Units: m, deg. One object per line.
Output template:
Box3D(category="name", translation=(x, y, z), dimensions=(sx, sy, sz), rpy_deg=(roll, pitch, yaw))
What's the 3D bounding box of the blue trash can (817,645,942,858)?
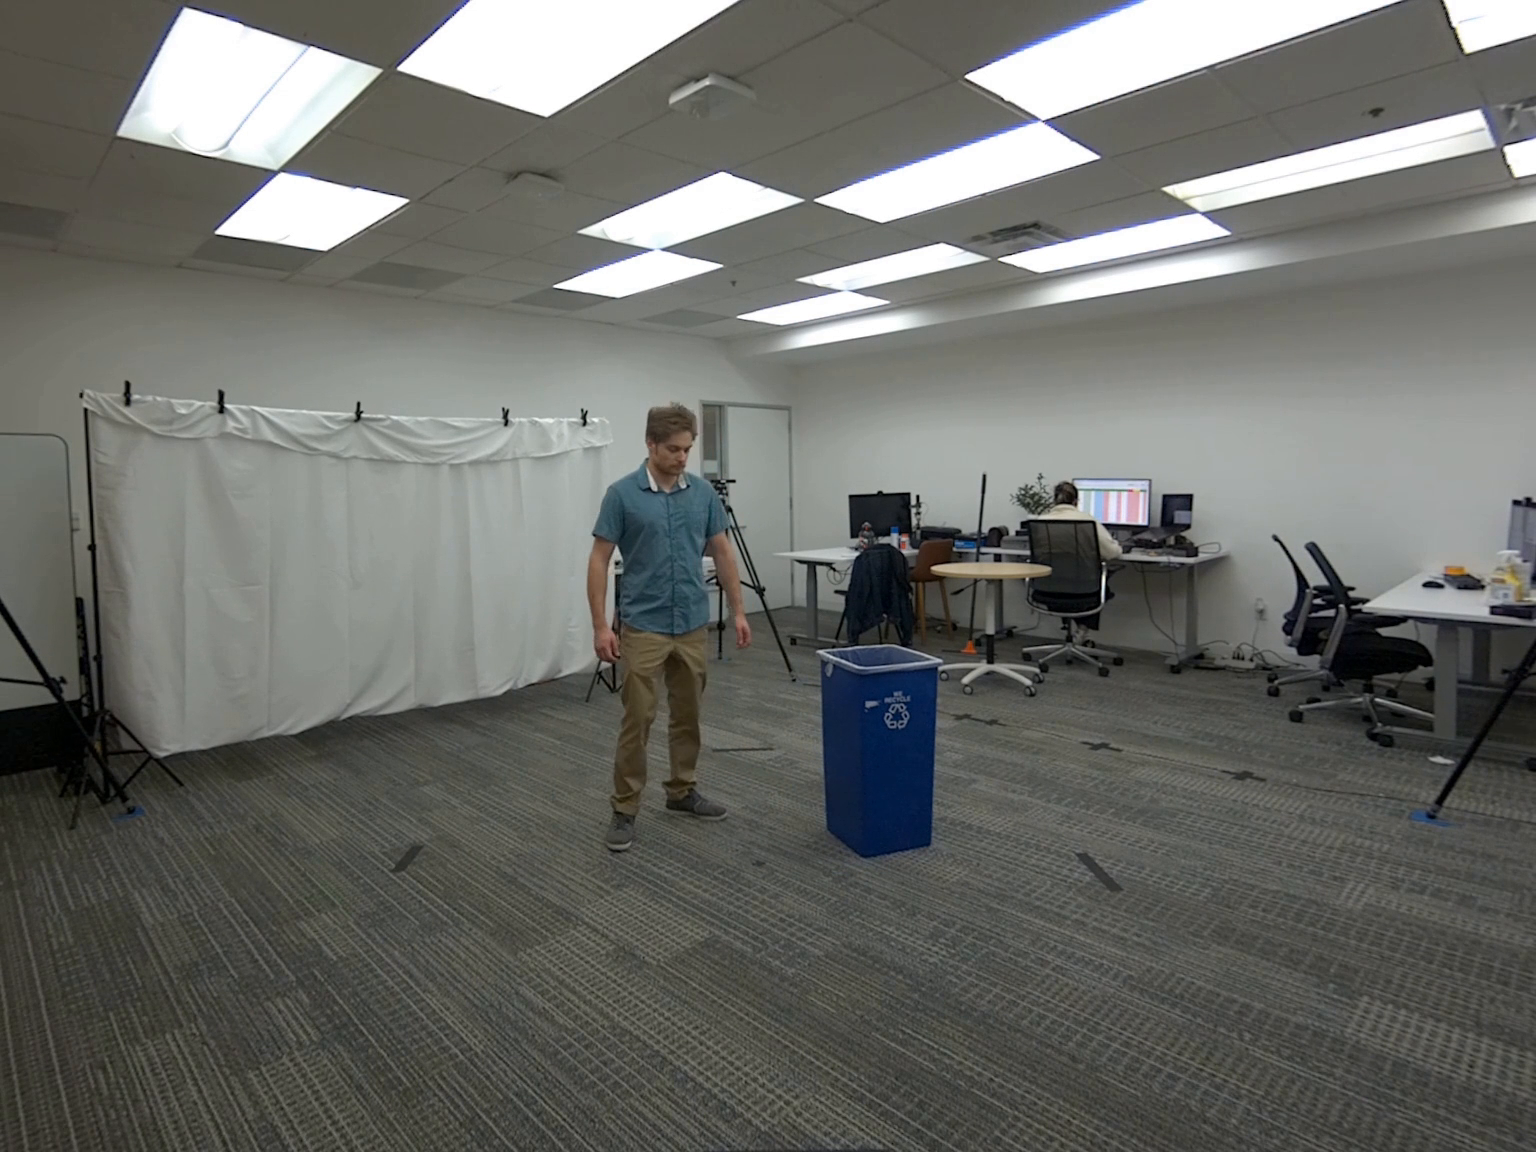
Box3D(category="blue trash can", translation=(0.429, 0.657, 3.306), dimensions=(0.367, 0.711, 0.387), rpy_deg=(-2, 4, -22))
